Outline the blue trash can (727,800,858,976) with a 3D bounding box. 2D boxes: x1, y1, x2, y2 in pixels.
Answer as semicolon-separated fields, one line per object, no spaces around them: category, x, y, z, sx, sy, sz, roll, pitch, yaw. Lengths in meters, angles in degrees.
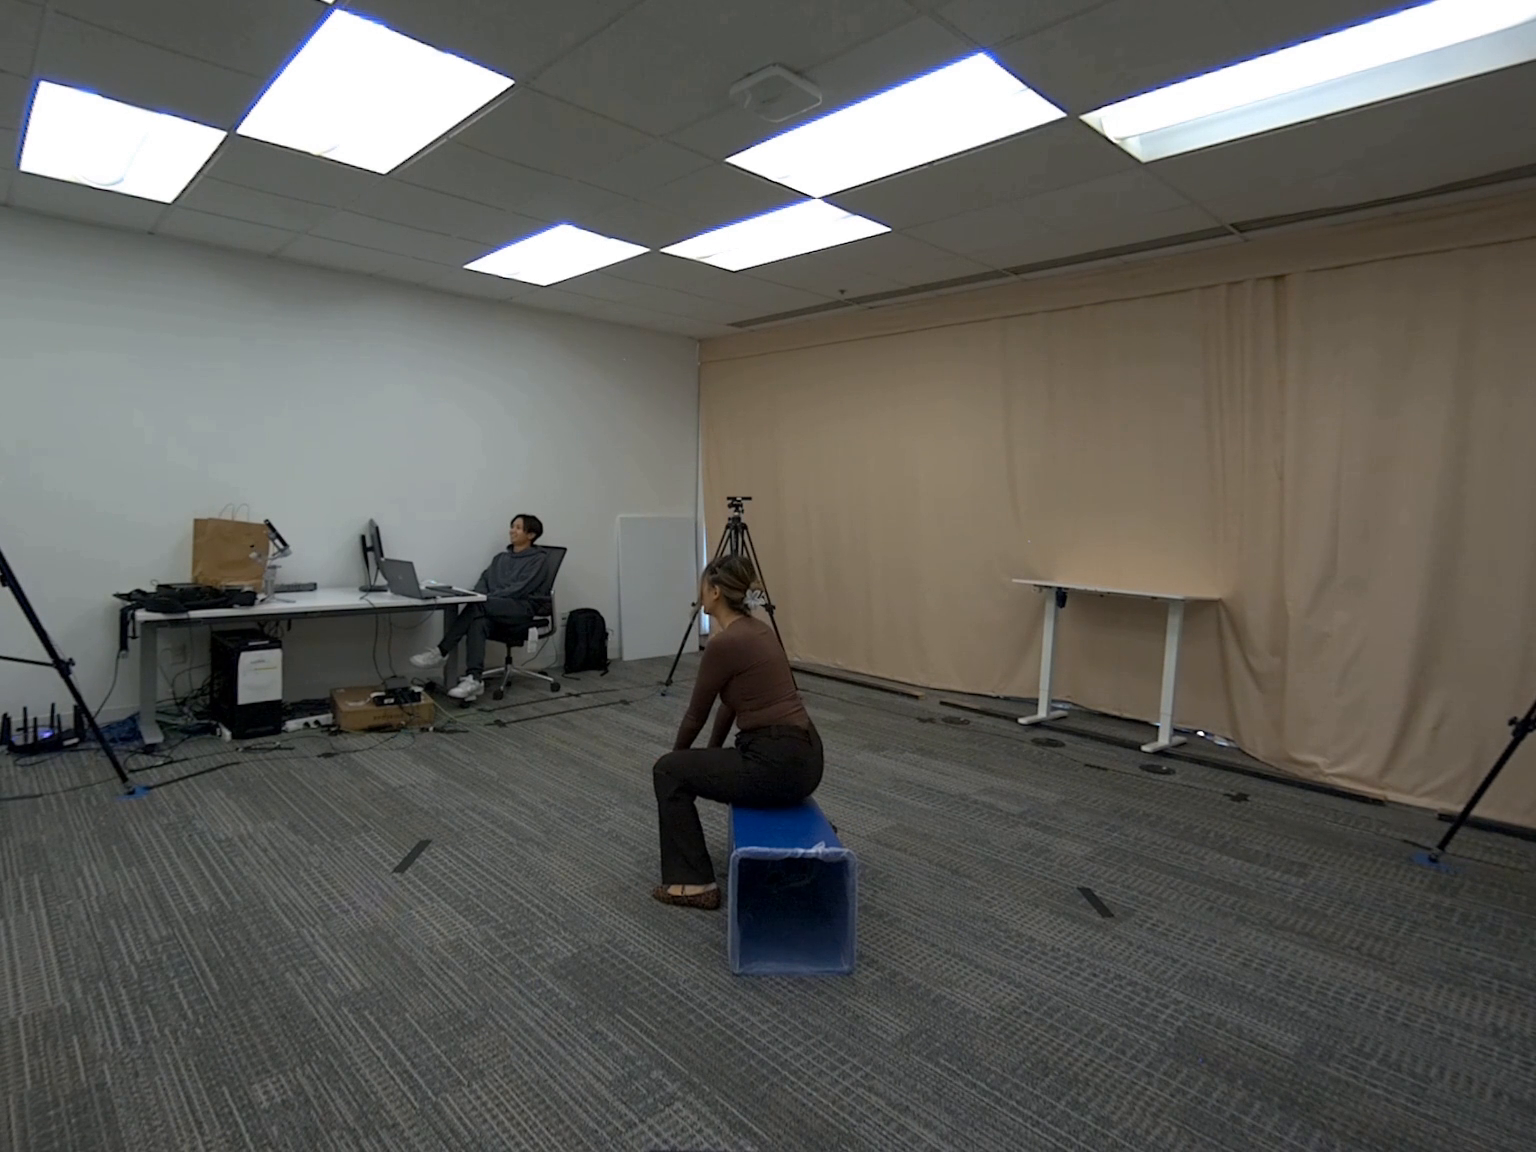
blue trash can;0.024;0.972;2.805;0.372;0.378;0.717;0;2;-6
